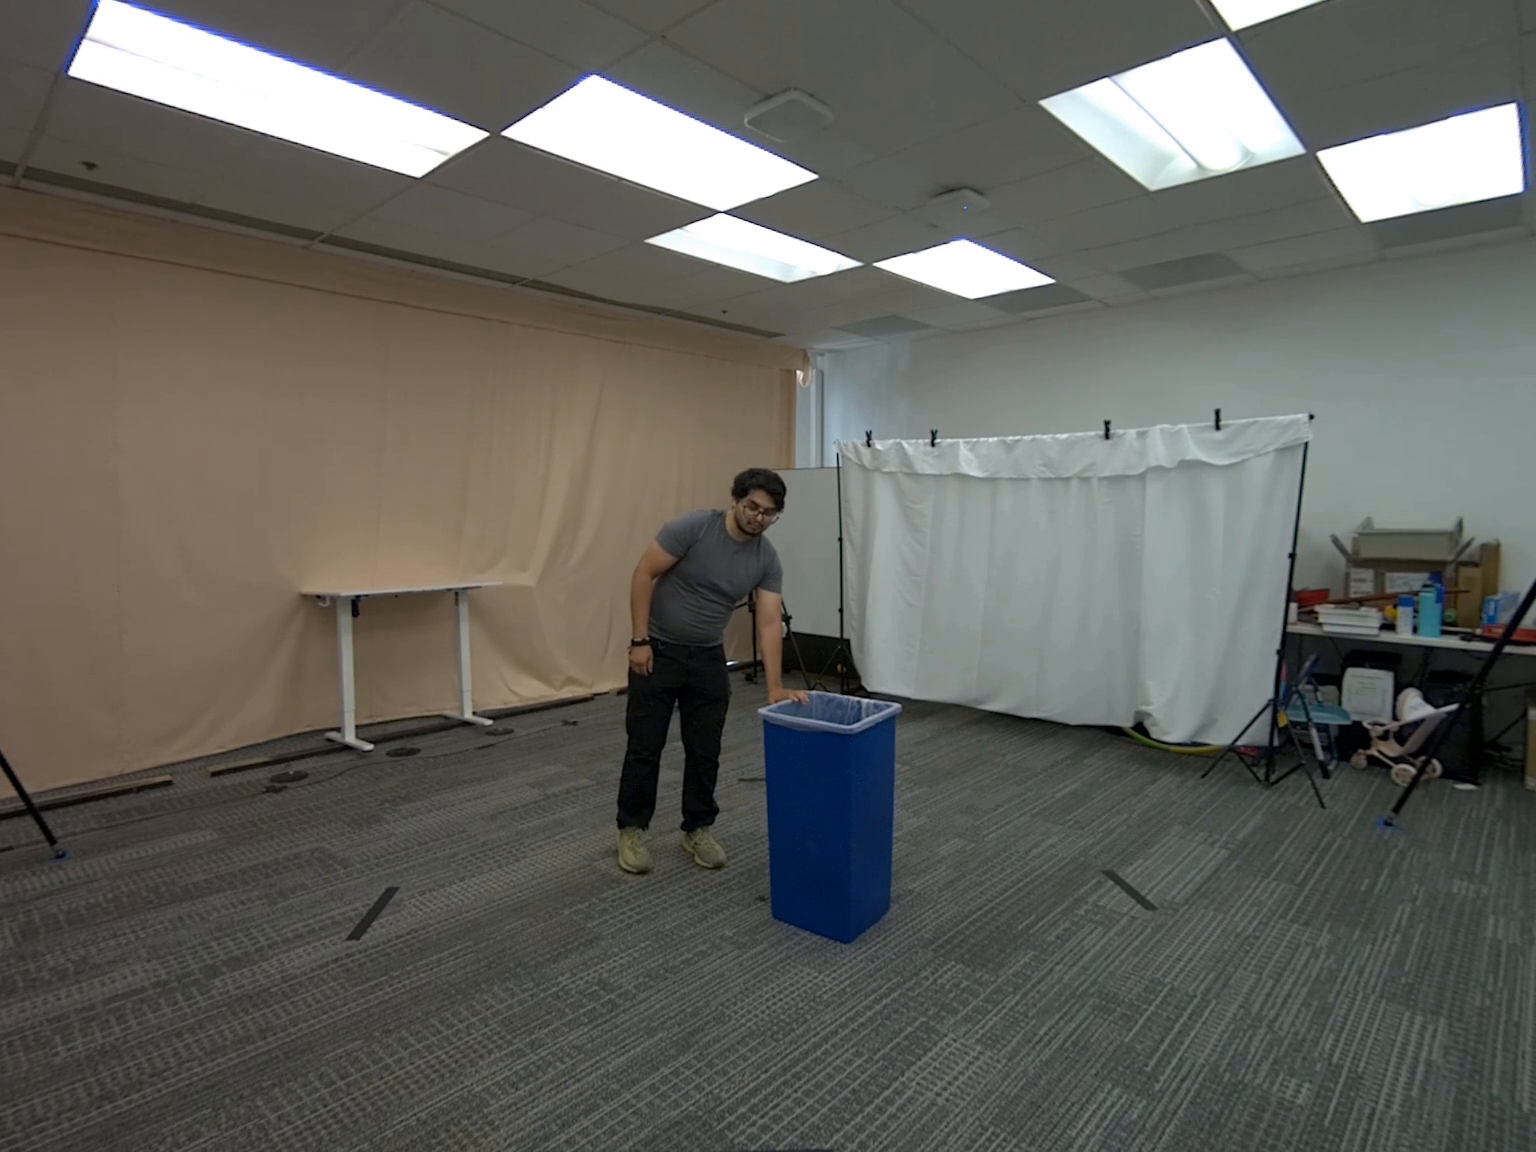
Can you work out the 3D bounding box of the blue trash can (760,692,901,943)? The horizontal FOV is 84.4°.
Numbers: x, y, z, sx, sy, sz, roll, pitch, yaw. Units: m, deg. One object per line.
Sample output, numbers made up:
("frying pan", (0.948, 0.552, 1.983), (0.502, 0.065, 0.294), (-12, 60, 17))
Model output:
("blue trash can", (0.215, 0.796, 2.846), (0.390, 0.712, 0.363), (2, 4, 37))
